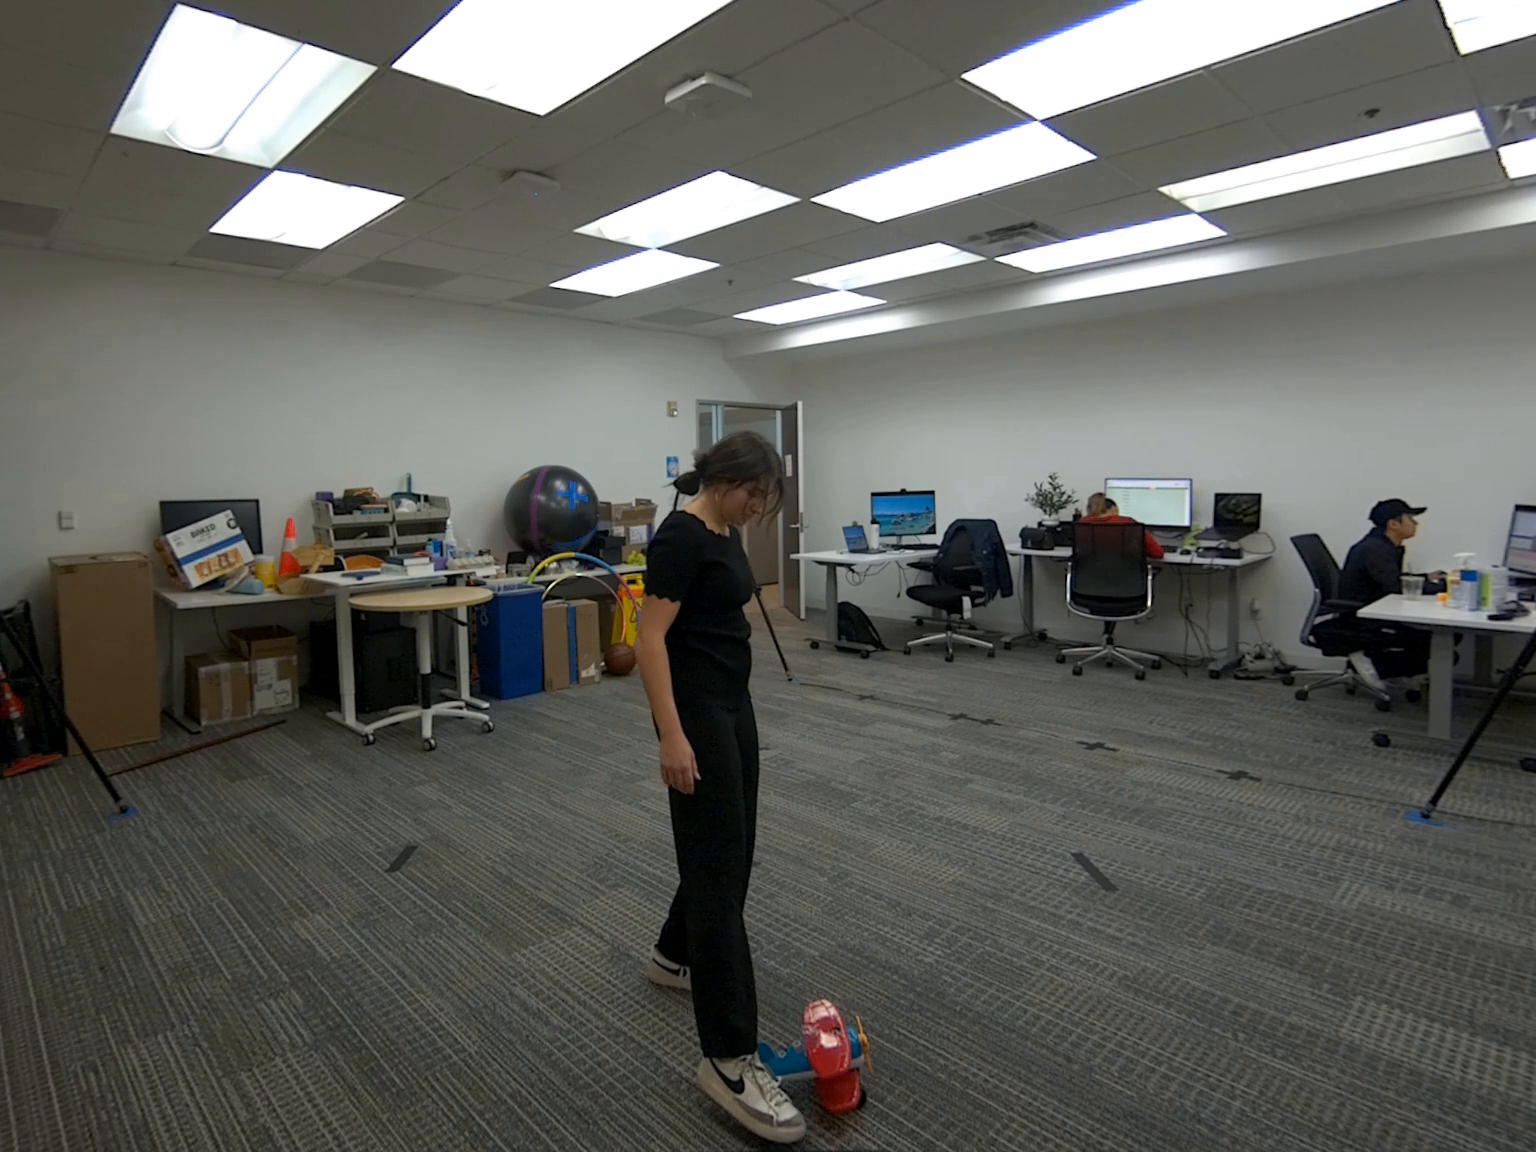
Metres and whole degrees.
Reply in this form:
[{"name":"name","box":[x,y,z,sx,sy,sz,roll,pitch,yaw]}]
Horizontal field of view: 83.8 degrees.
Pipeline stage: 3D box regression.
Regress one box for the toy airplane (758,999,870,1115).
[{"name":"toy airplane","box":[0.109,1.107,1.915,0.253,0.156,0.258,-4,6,-33]}]
